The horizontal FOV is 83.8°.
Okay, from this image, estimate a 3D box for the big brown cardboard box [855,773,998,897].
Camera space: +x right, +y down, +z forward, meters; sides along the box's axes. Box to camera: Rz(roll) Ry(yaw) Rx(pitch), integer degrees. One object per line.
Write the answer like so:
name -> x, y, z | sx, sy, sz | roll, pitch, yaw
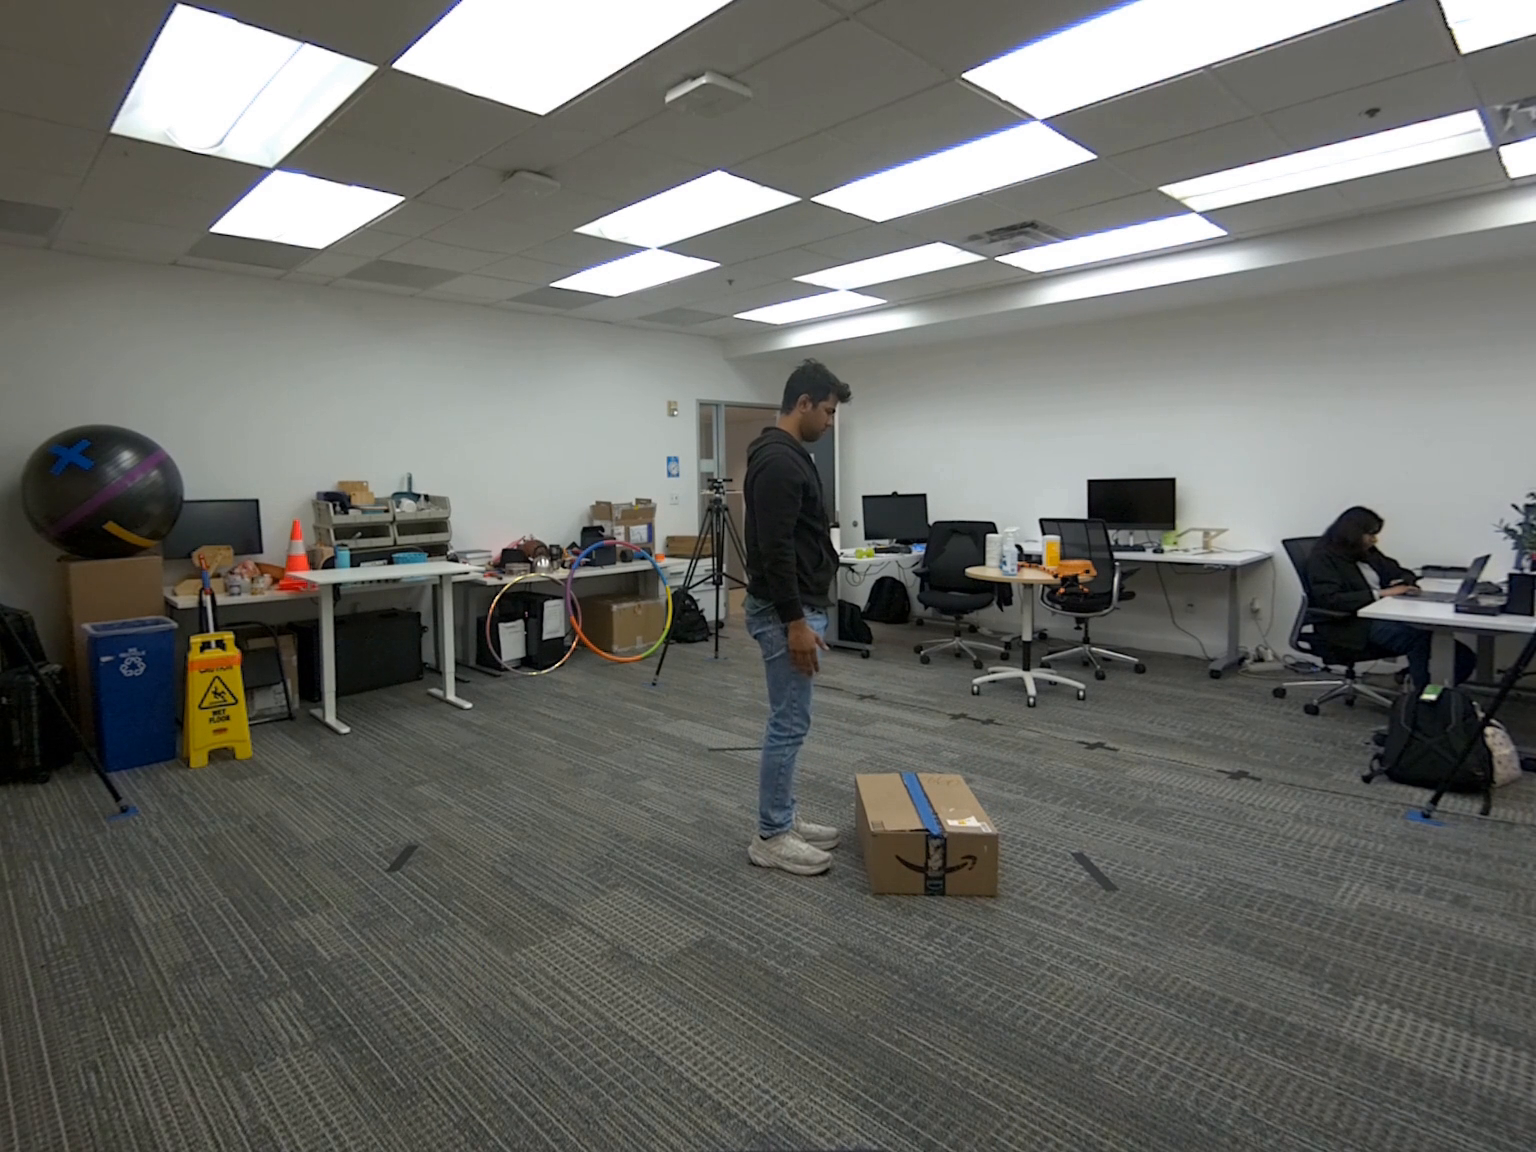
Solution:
big brown cardboard box -> 0.556, 0.920, 3.107 | 0.418, 0.232, 0.590 | -1, 5, 1
